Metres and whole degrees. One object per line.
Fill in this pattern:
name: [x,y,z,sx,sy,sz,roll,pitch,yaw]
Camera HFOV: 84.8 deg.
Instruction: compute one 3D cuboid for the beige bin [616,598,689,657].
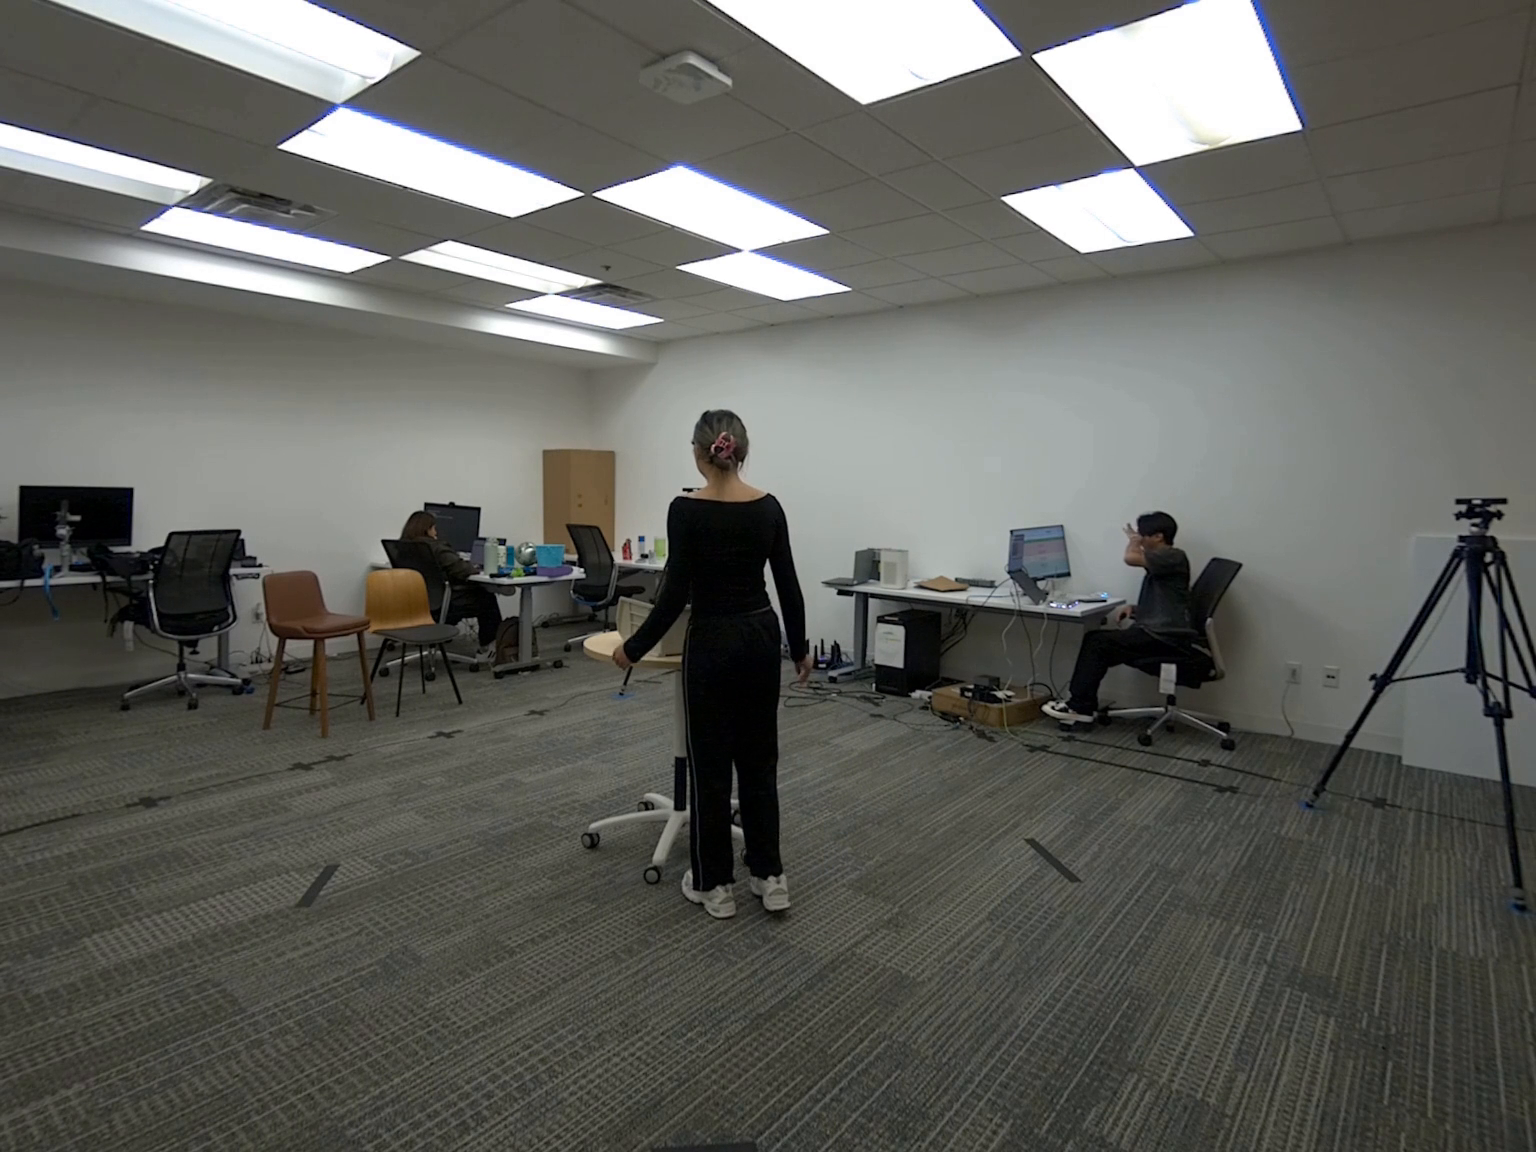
beige bin: [-0.318,0.174,3.221,0.411,0.188,0.389,-1,6,-31]
